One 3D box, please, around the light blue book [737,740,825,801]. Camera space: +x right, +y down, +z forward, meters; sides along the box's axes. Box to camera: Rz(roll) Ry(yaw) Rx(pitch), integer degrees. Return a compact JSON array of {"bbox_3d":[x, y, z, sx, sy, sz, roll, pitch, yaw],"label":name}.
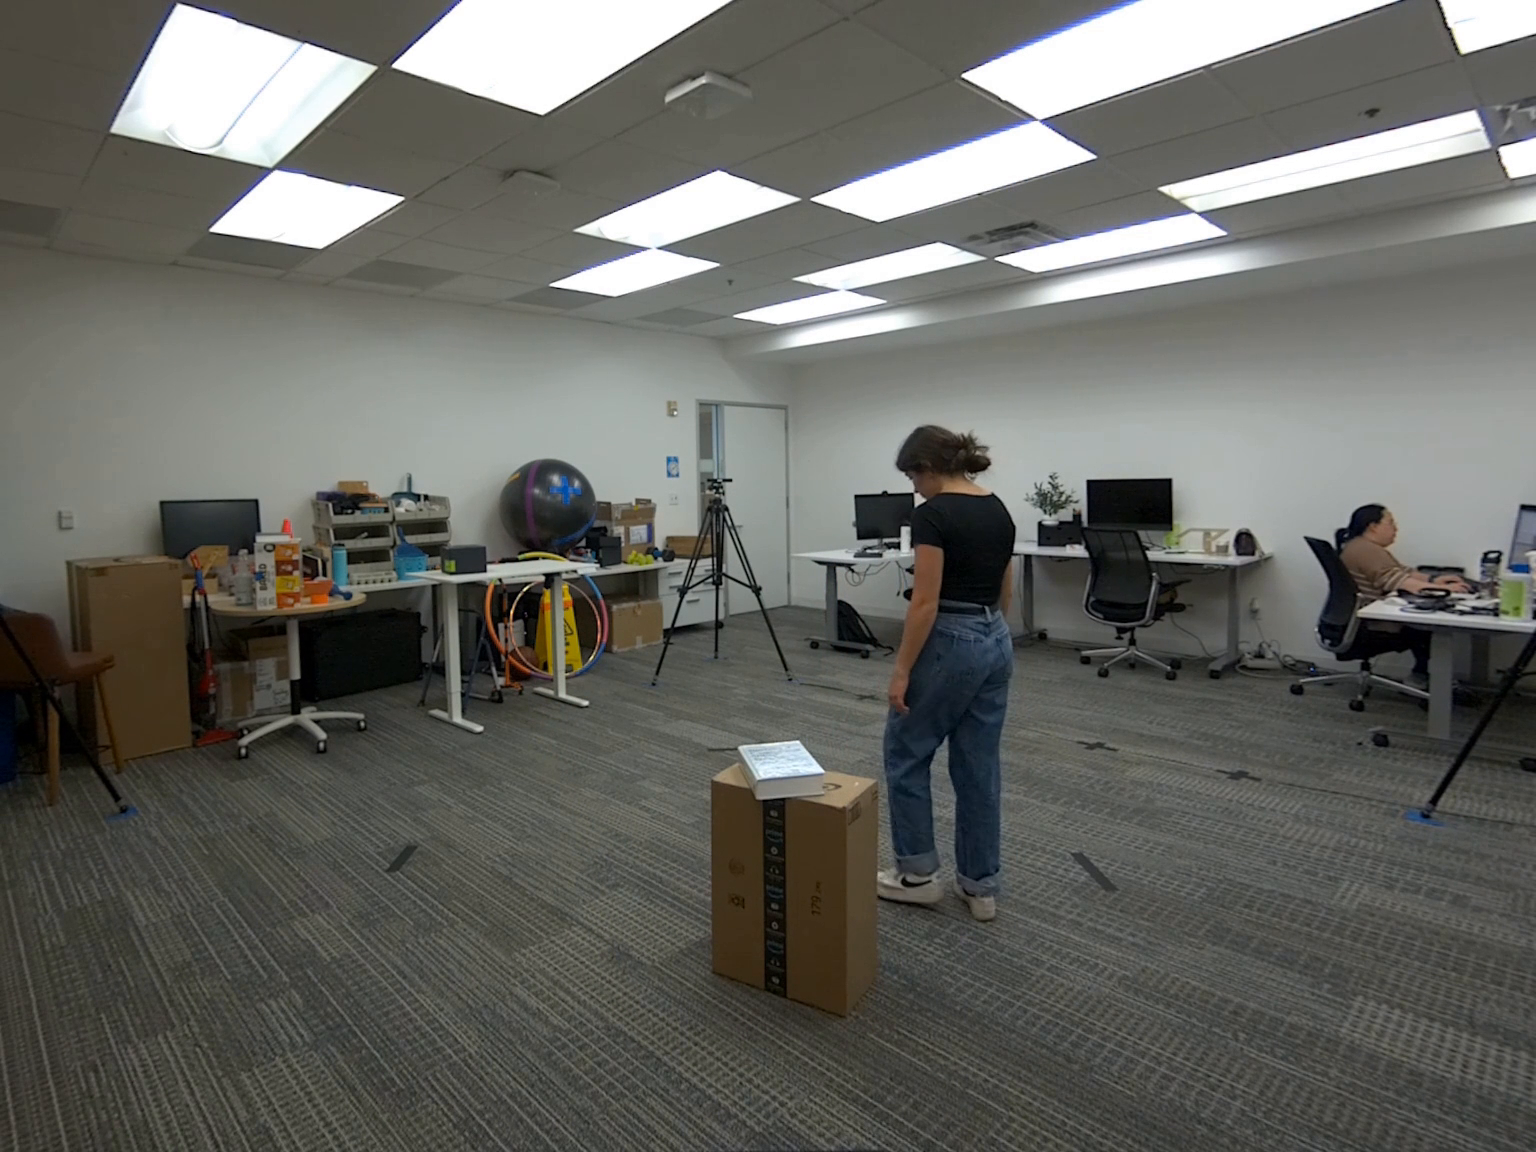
[{"bbox_3d":[0.033,0.539,2.365,0.189,0.059,0.265,-3,7,-12],"label":"light blue book"}]
